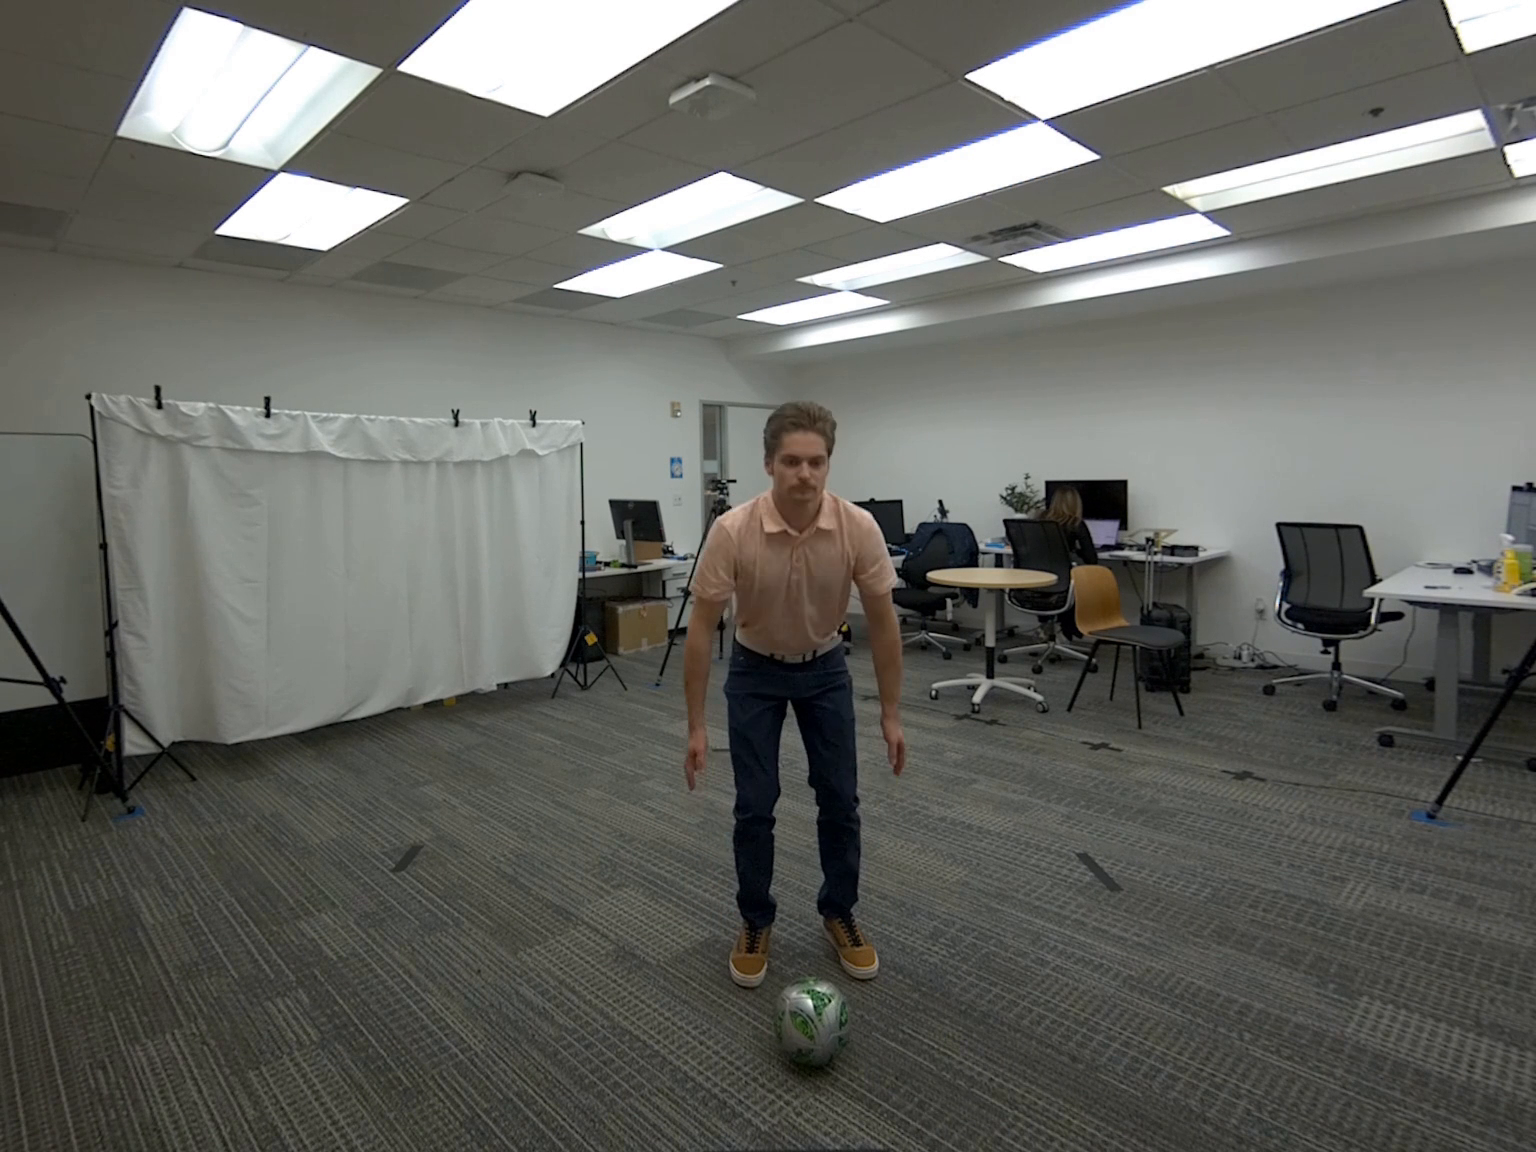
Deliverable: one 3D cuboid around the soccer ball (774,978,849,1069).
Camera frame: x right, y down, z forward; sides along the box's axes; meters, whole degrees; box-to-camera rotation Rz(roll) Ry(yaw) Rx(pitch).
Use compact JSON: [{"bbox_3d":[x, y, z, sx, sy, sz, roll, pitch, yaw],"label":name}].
[{"bbox_3d":[0.111,1.078,2.057,0.187,0.187,0.188,-1,5,-2],"label":"soccer ball"}]
